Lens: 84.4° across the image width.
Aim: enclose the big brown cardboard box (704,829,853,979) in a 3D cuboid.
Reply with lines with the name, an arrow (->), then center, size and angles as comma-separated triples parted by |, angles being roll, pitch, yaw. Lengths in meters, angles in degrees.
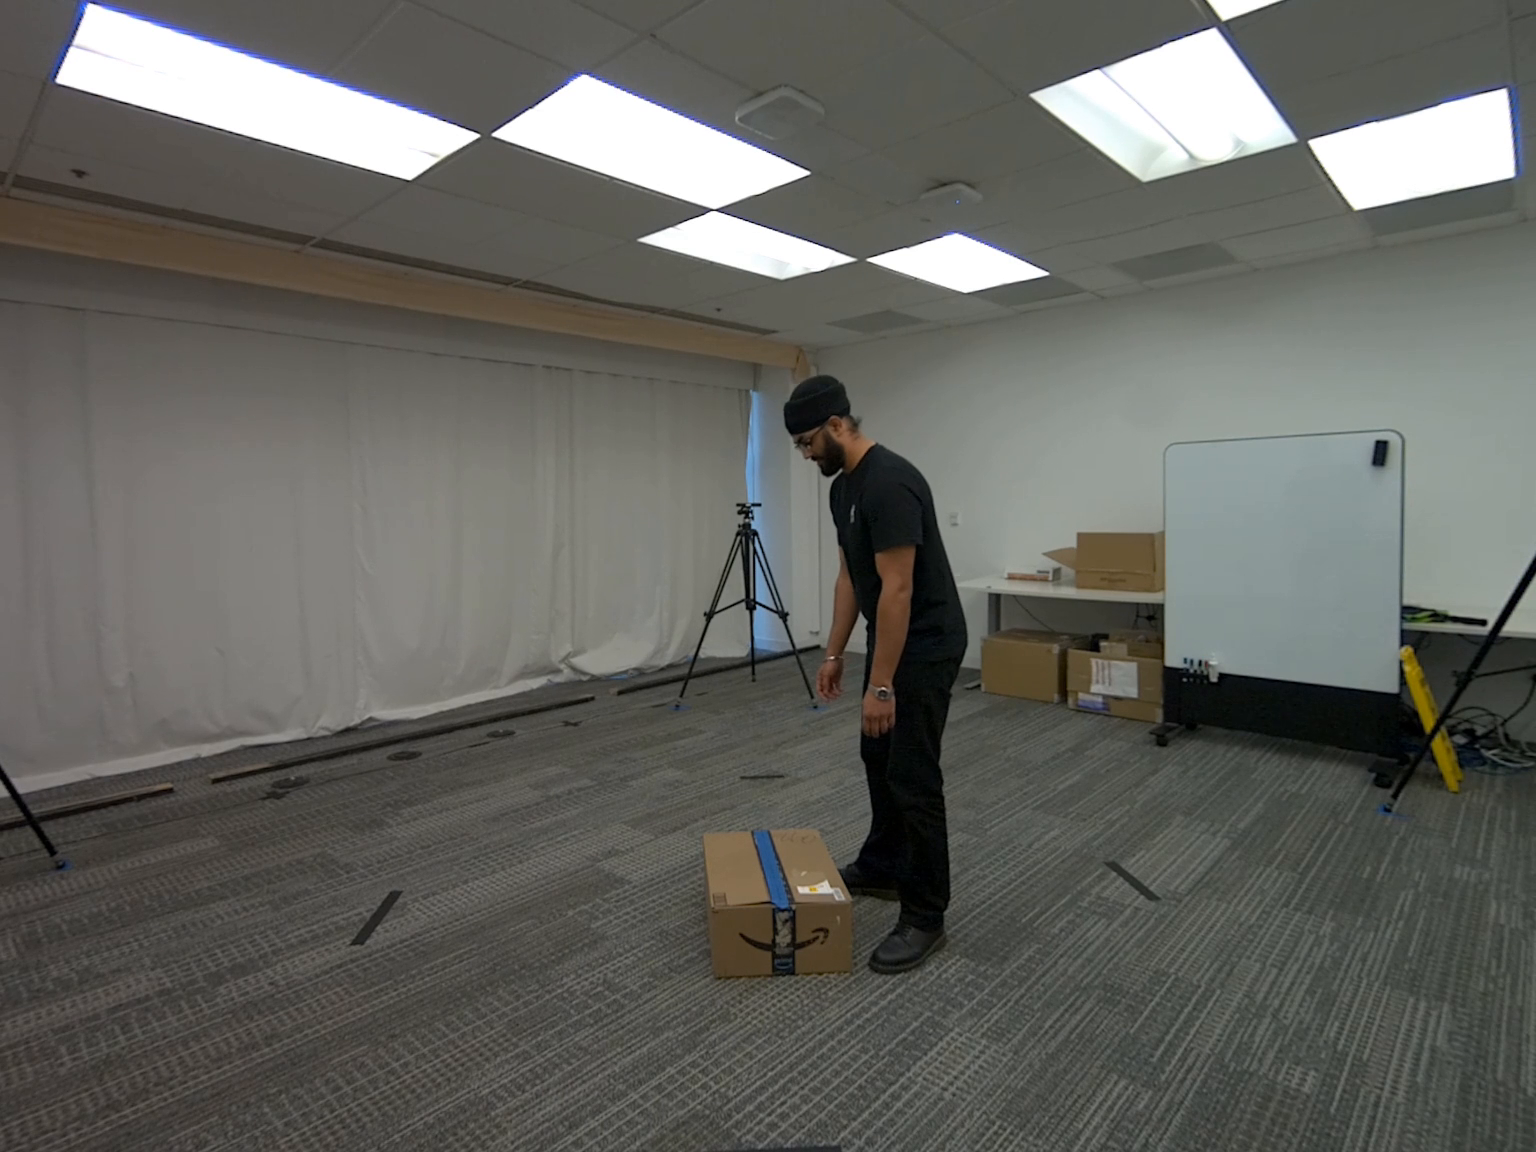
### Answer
big brown cardboard box -> 0.011, 1.054, 2.741 | 0.415, 0.232, 0.594 | -3, 4, -7
